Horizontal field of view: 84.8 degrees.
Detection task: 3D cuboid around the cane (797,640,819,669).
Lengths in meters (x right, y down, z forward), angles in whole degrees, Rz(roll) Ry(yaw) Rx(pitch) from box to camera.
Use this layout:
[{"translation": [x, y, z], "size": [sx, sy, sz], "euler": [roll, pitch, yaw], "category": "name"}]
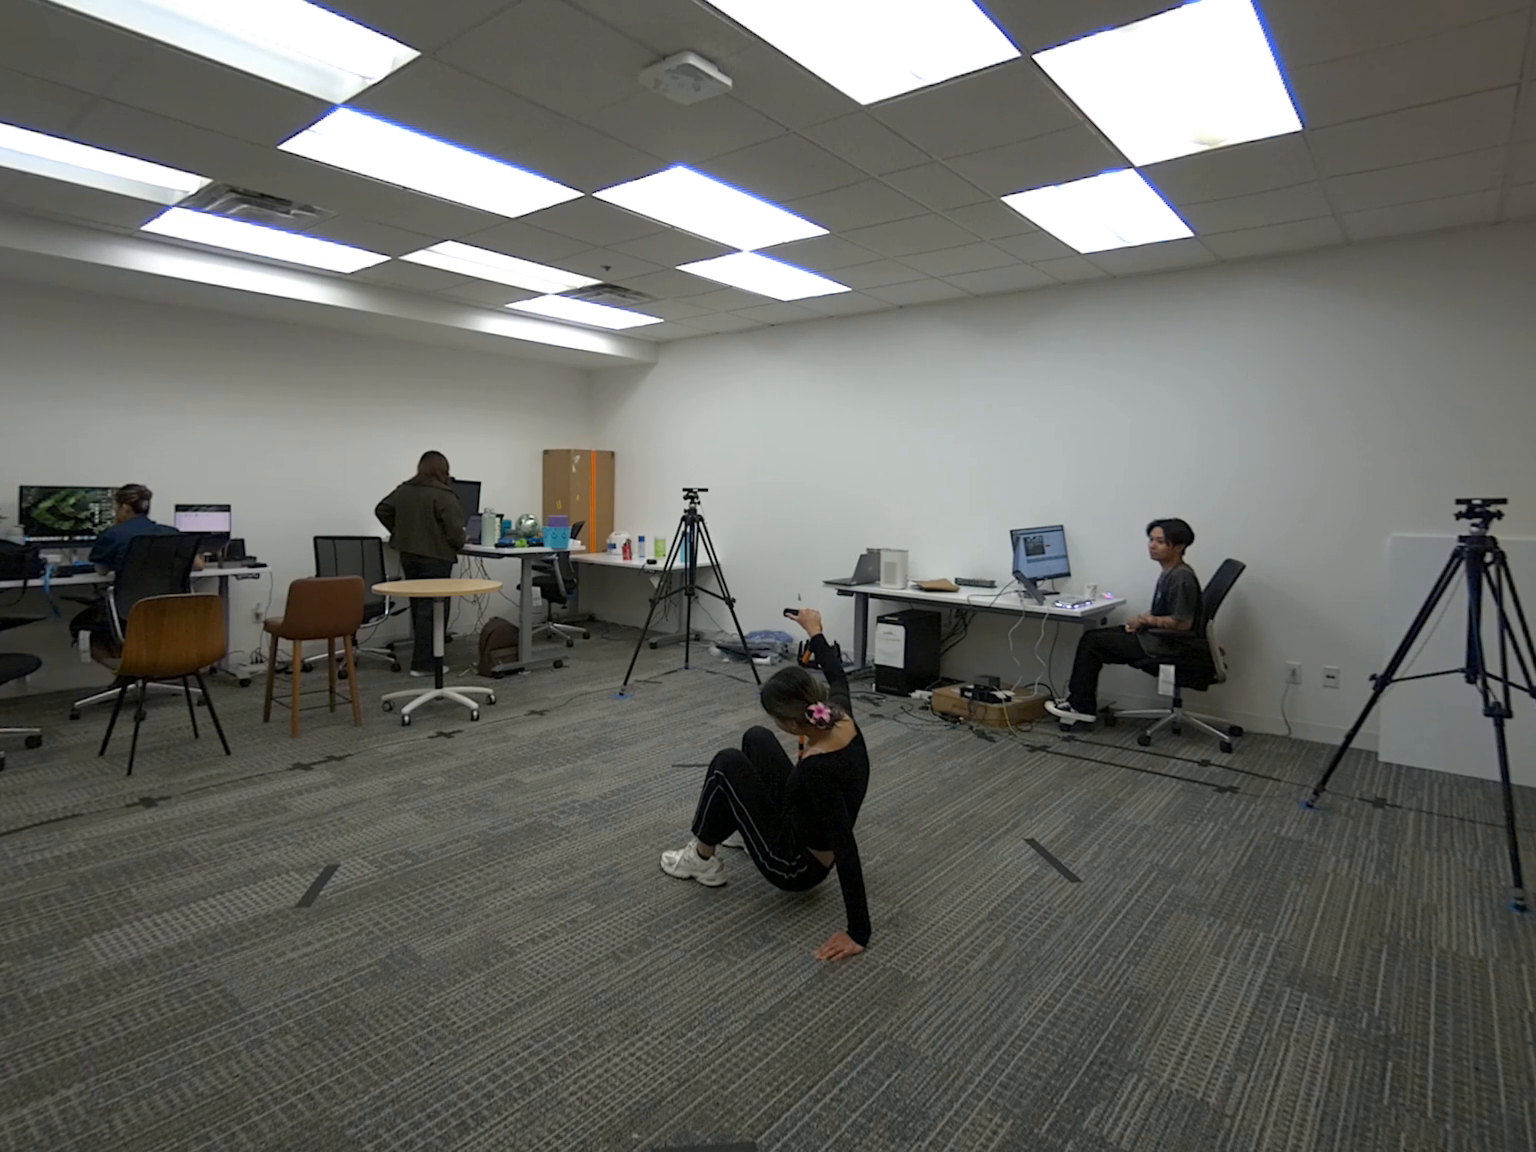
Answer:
[{"translation": [0.121, 0.586, 3.402], "size": [0.212, 0.903, 0.148], "euler": [4, 6, 29], "category": "cane"}]
